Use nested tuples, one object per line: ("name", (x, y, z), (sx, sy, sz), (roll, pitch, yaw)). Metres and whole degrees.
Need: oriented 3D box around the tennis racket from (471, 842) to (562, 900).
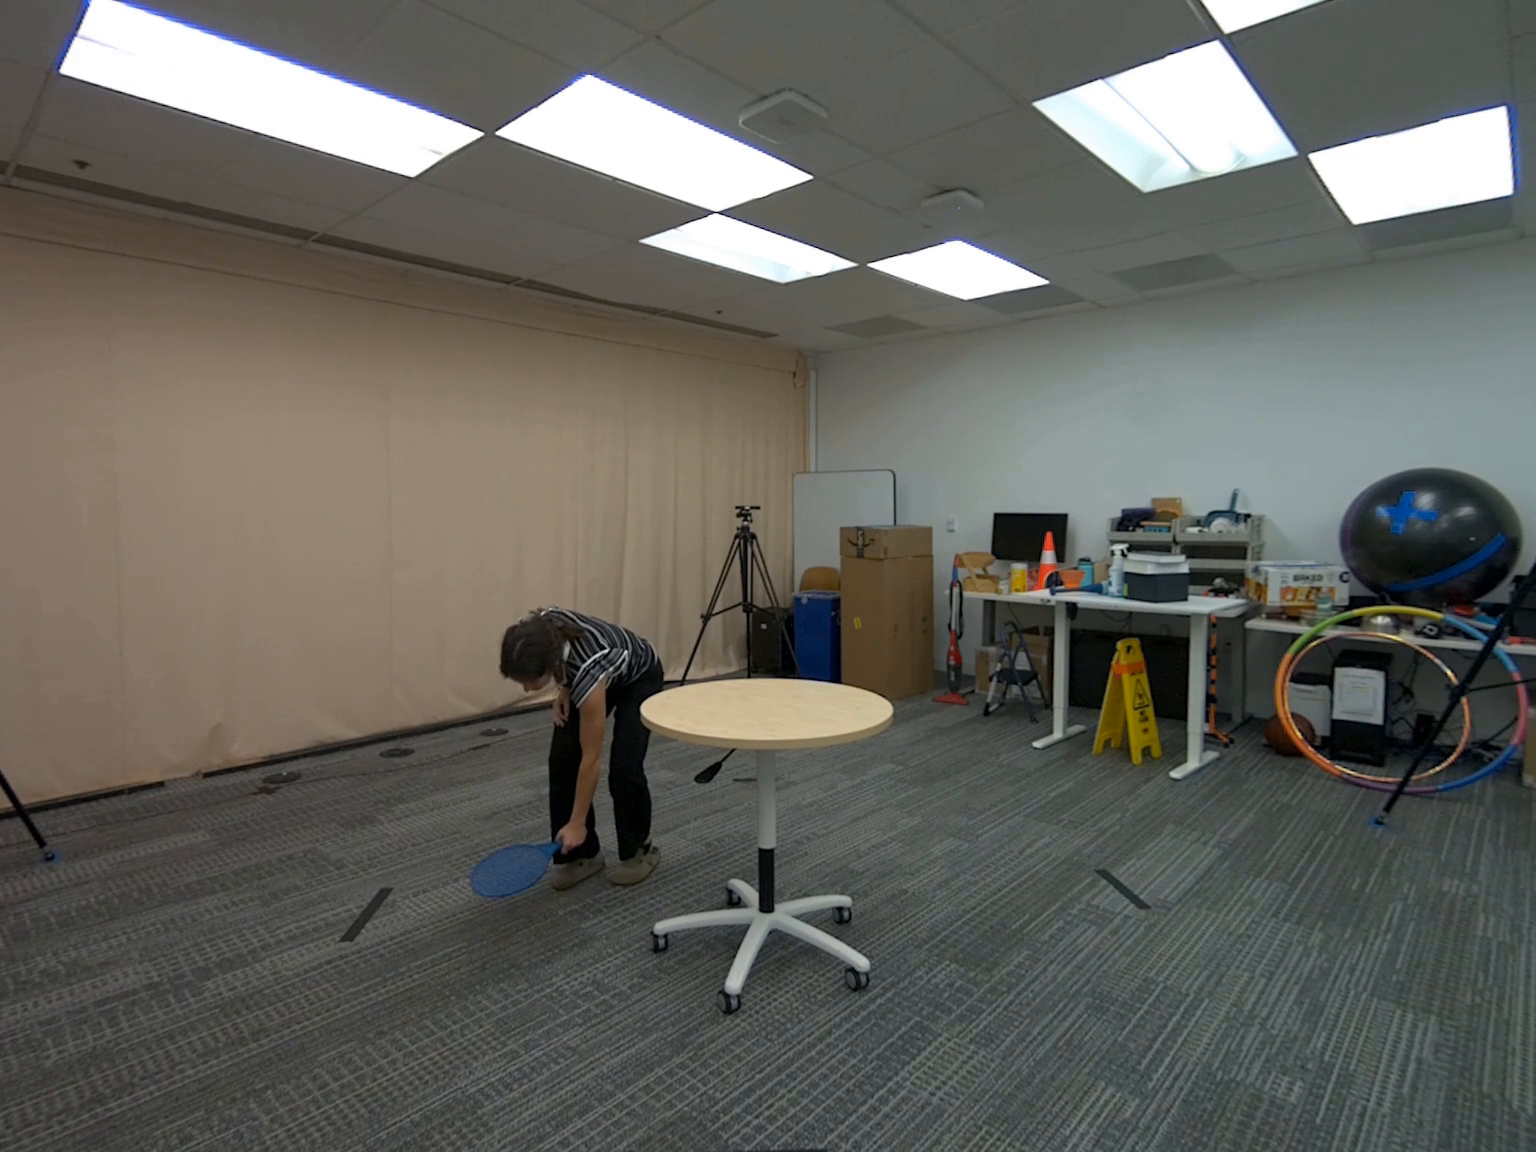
("tennis racket", (-0.801, 0.950, 2.852), (0.221, 0.031, 0.422), (21, 29, 39))
